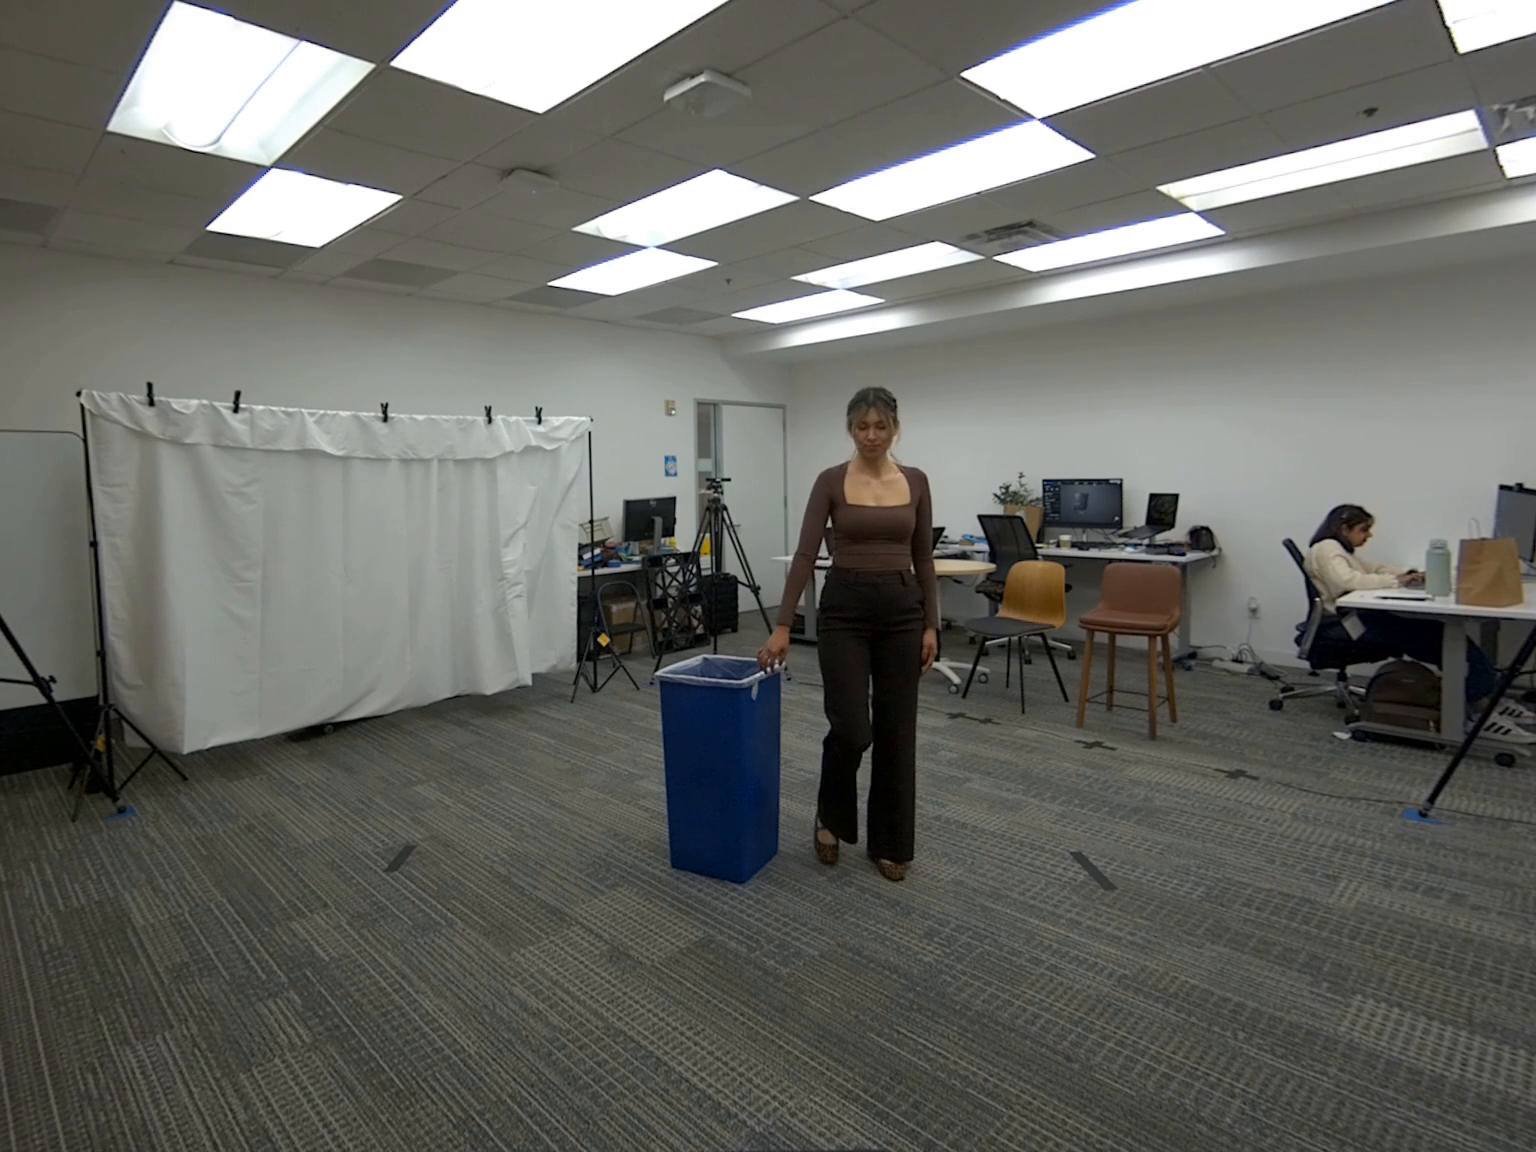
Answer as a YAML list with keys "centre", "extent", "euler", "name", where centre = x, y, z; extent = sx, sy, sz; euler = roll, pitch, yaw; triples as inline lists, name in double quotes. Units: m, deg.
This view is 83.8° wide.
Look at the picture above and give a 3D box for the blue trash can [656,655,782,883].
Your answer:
- centre: [-0.157, 0.684, 3.111]
  extent: [0.387, 0.712, 0.366]
  euler: [1, 3, 26]
  name: "blue trash can"
